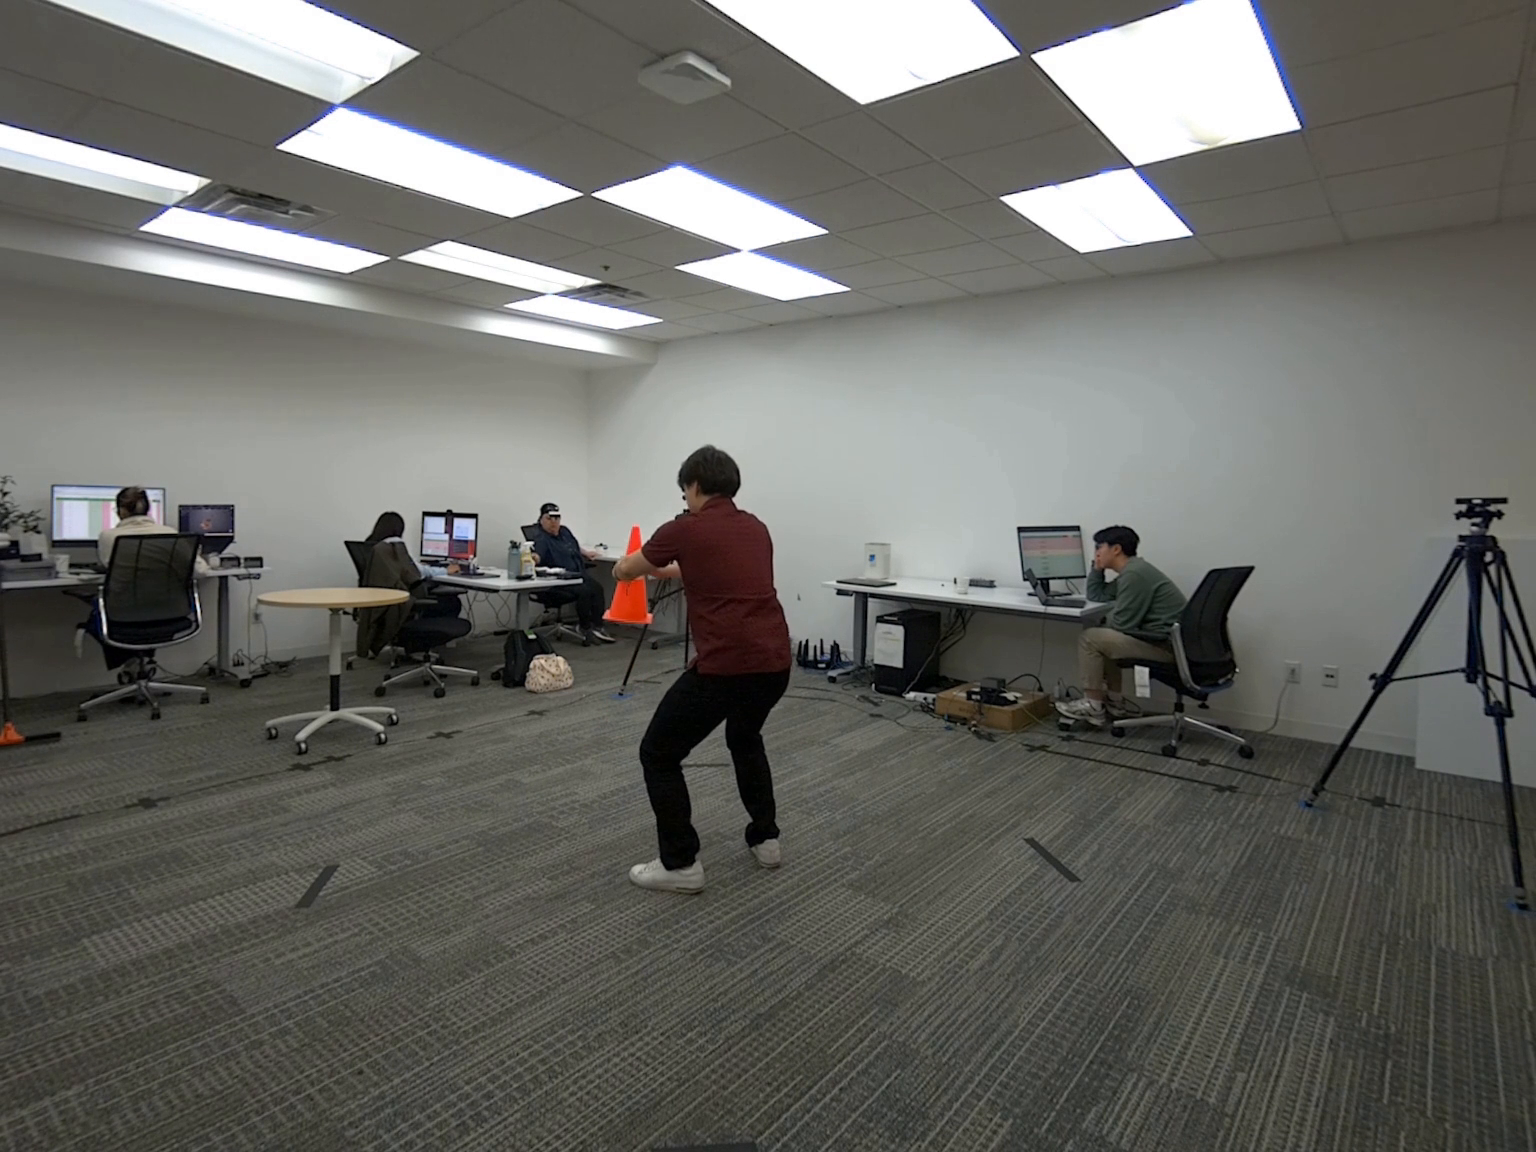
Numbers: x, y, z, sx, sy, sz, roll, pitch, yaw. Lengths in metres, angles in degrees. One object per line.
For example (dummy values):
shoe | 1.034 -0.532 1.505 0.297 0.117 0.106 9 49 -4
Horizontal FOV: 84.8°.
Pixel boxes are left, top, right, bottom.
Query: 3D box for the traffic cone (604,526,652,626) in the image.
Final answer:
traffic cone | -0.570 -0.016 3.519 0.203 0.382 0.207 9 6 -4
